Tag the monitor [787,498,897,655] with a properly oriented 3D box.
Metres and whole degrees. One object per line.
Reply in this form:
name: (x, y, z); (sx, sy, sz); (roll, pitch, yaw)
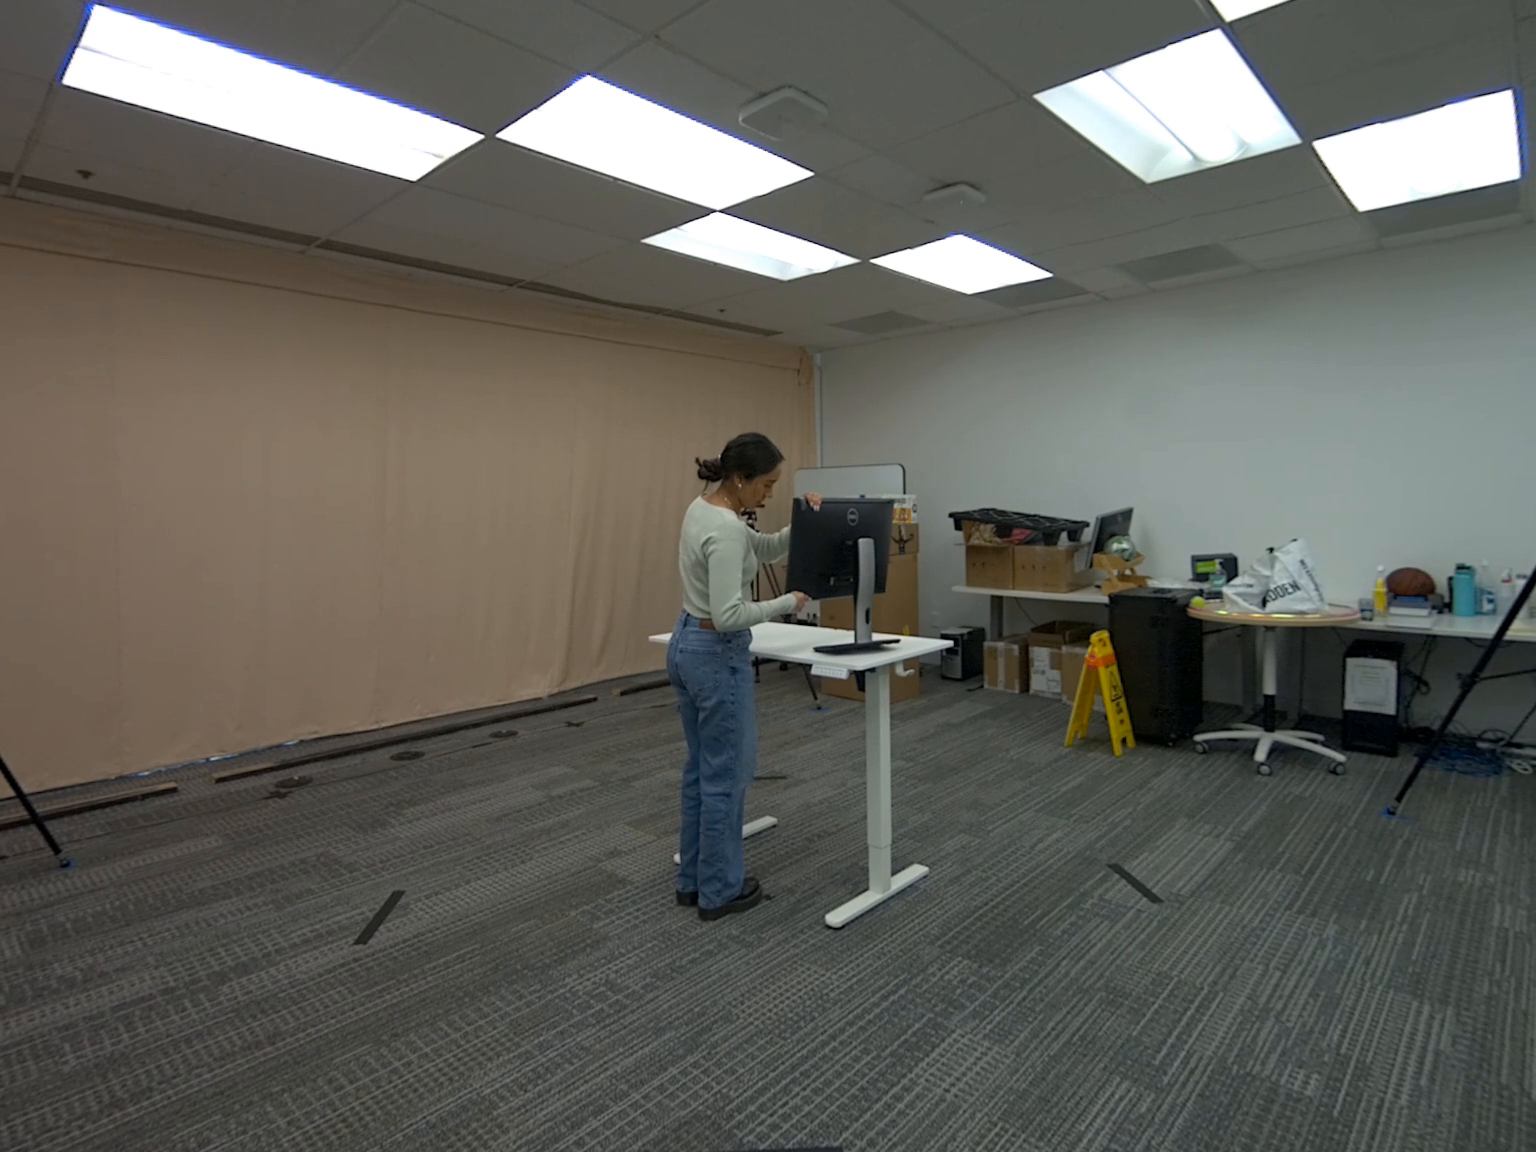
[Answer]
monitor: (0.296, -0.007, 2.899); (0.192, 0.524, 0.522); (-8, -4, 45)
